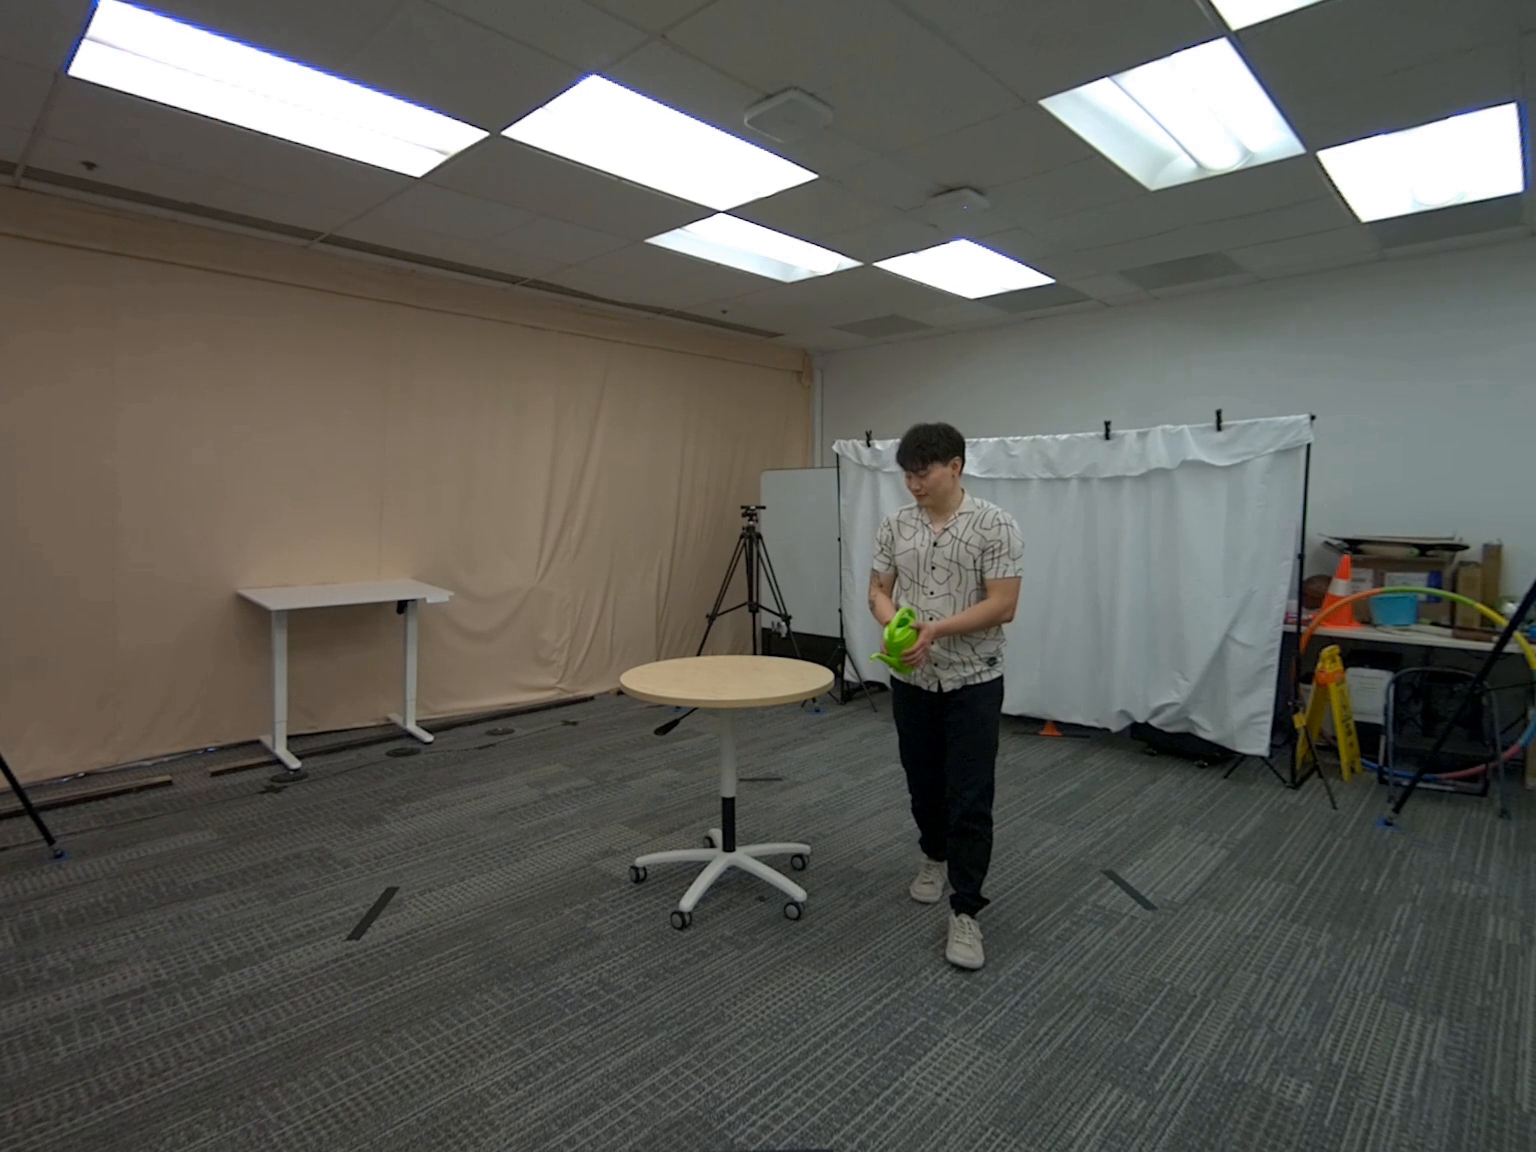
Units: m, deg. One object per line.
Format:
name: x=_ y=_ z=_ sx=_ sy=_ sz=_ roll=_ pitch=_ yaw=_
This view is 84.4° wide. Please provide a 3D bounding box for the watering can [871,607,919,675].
watering can: x=0.395 y=0.223 z=2.580 sx=0.101 sy=0.172 sz=0.275 roll=10 pitch=43 yaw=48
